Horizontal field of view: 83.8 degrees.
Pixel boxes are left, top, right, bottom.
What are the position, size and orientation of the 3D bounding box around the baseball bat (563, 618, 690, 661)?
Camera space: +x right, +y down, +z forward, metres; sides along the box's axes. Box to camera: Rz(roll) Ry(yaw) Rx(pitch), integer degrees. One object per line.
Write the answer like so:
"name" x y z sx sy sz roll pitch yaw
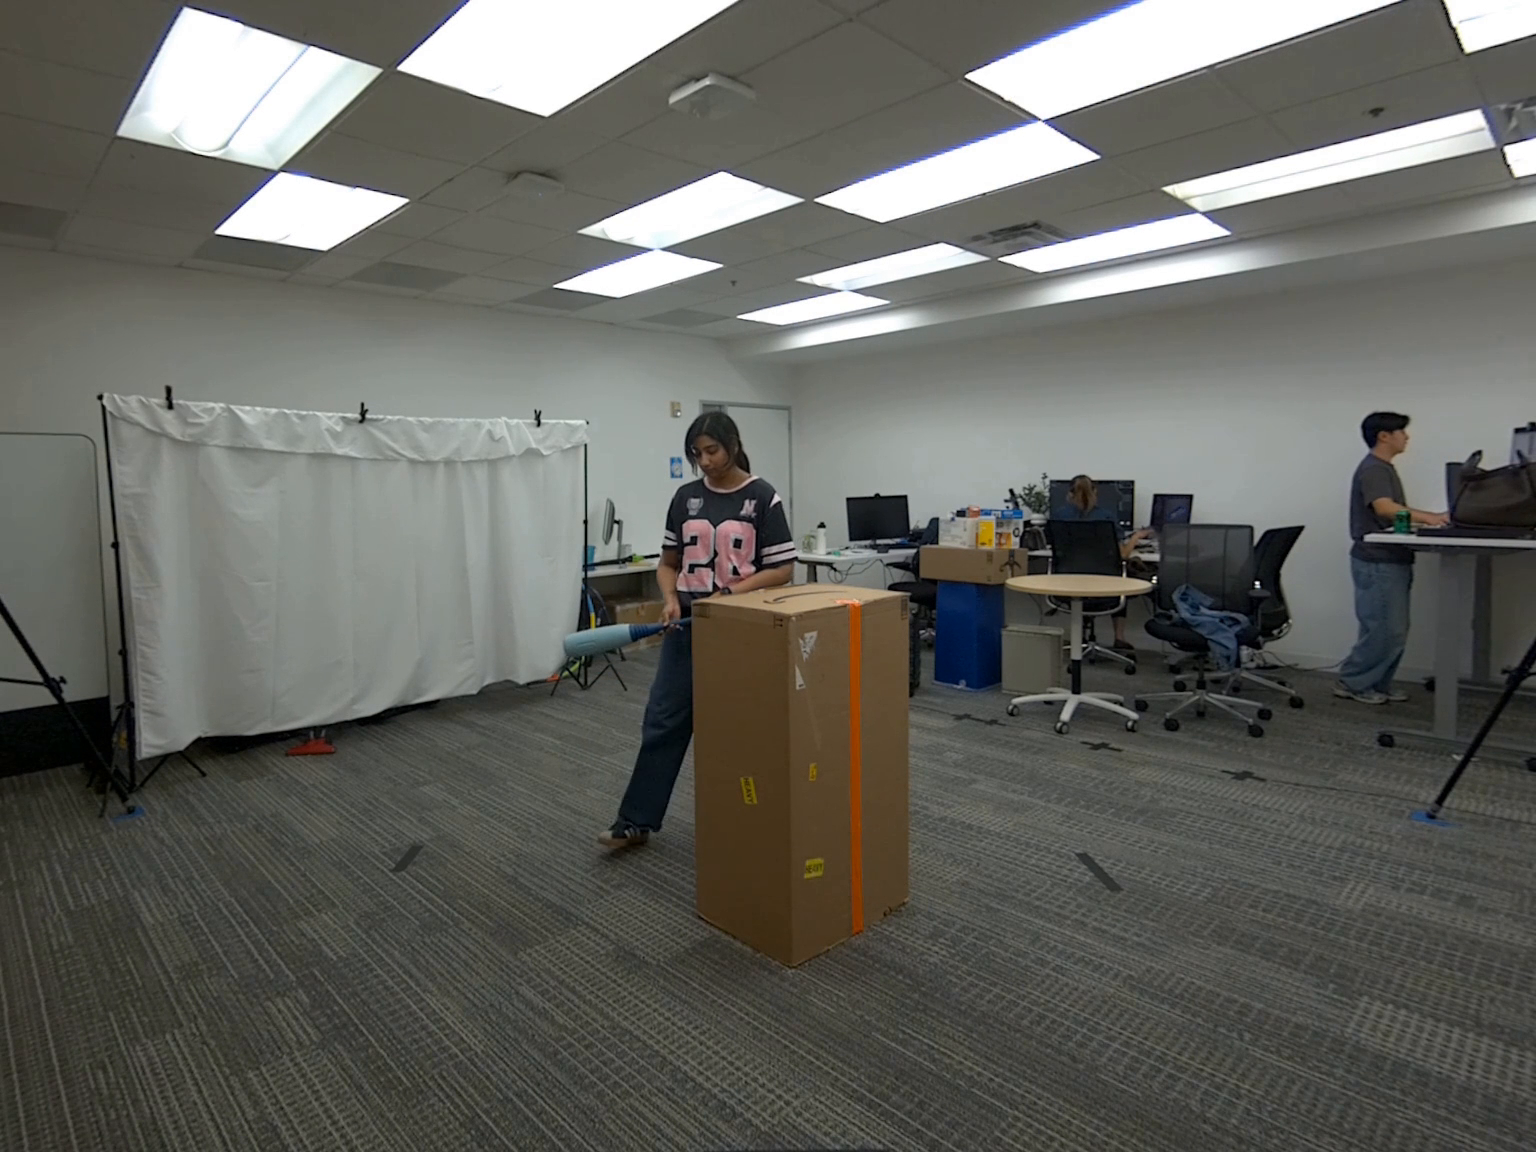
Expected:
"baseball bat" -0.474 0.203 3.068 0.544 0.089 0.089 -12 5 2
